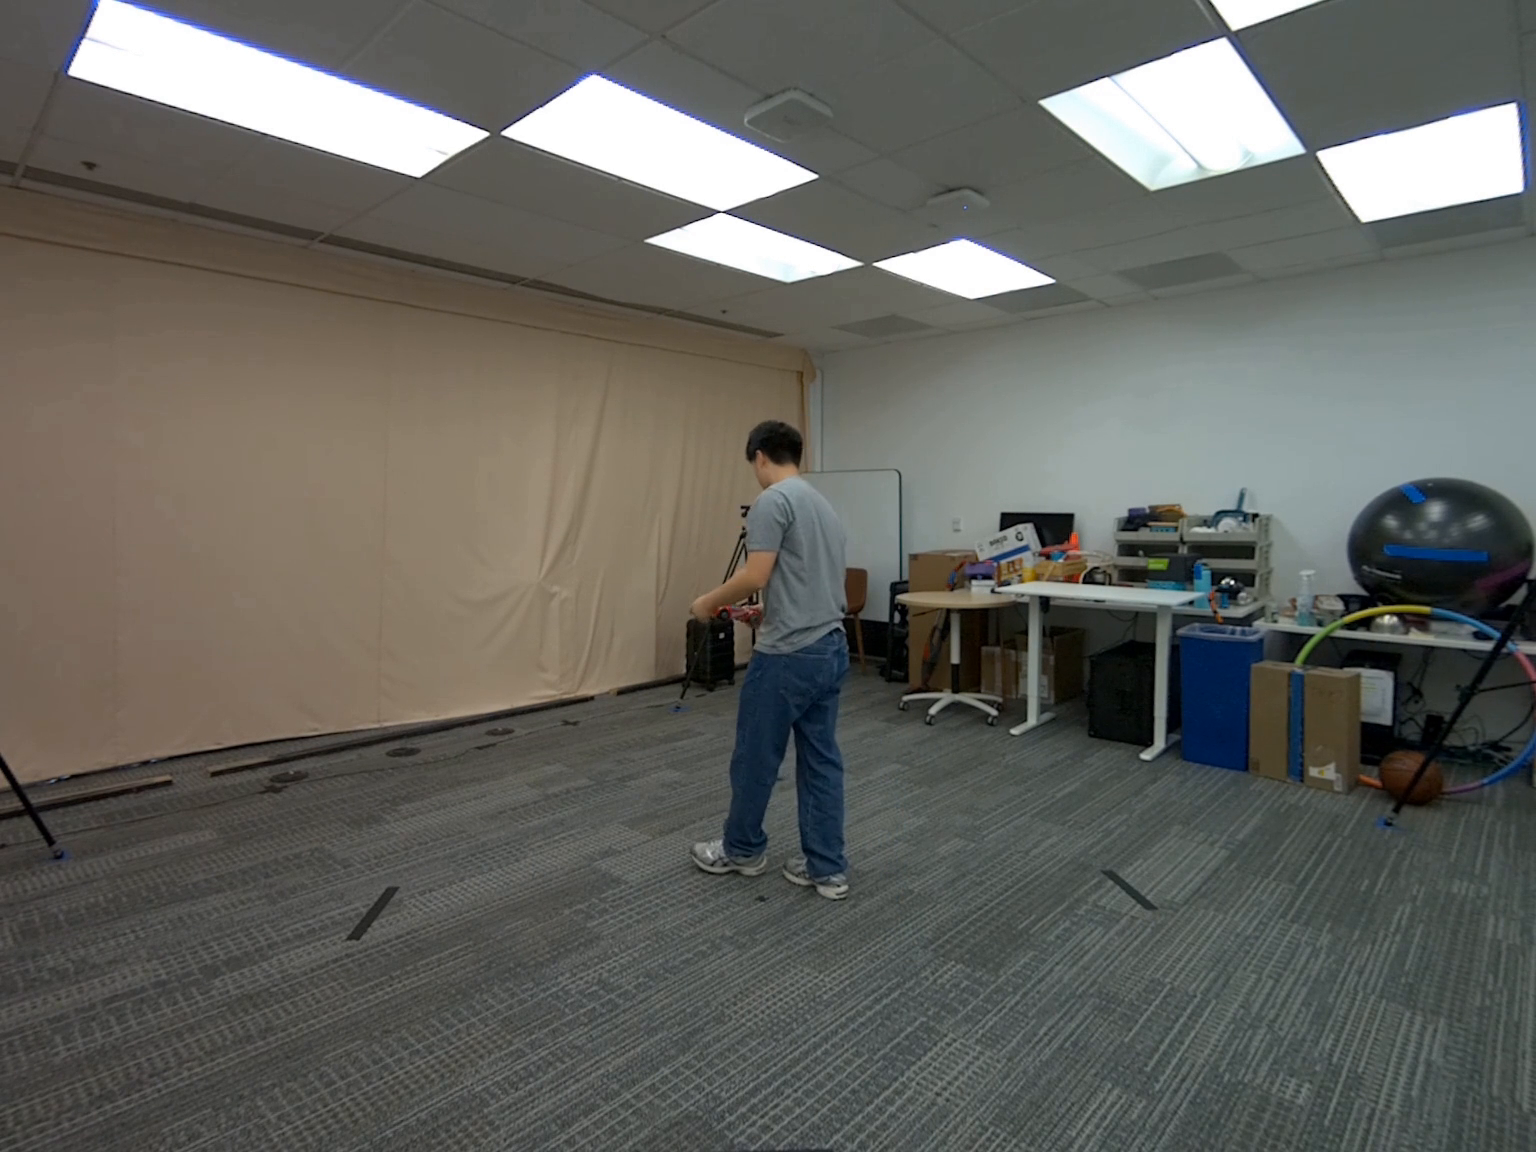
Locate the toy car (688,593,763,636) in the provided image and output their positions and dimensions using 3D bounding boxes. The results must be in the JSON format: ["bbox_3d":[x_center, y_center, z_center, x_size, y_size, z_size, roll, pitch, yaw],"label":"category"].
[{"bbox_3d":[-0.157,0.148,3.239,0.246,0.083,0.134,23,-11,-33],"label":"toy car"}]
